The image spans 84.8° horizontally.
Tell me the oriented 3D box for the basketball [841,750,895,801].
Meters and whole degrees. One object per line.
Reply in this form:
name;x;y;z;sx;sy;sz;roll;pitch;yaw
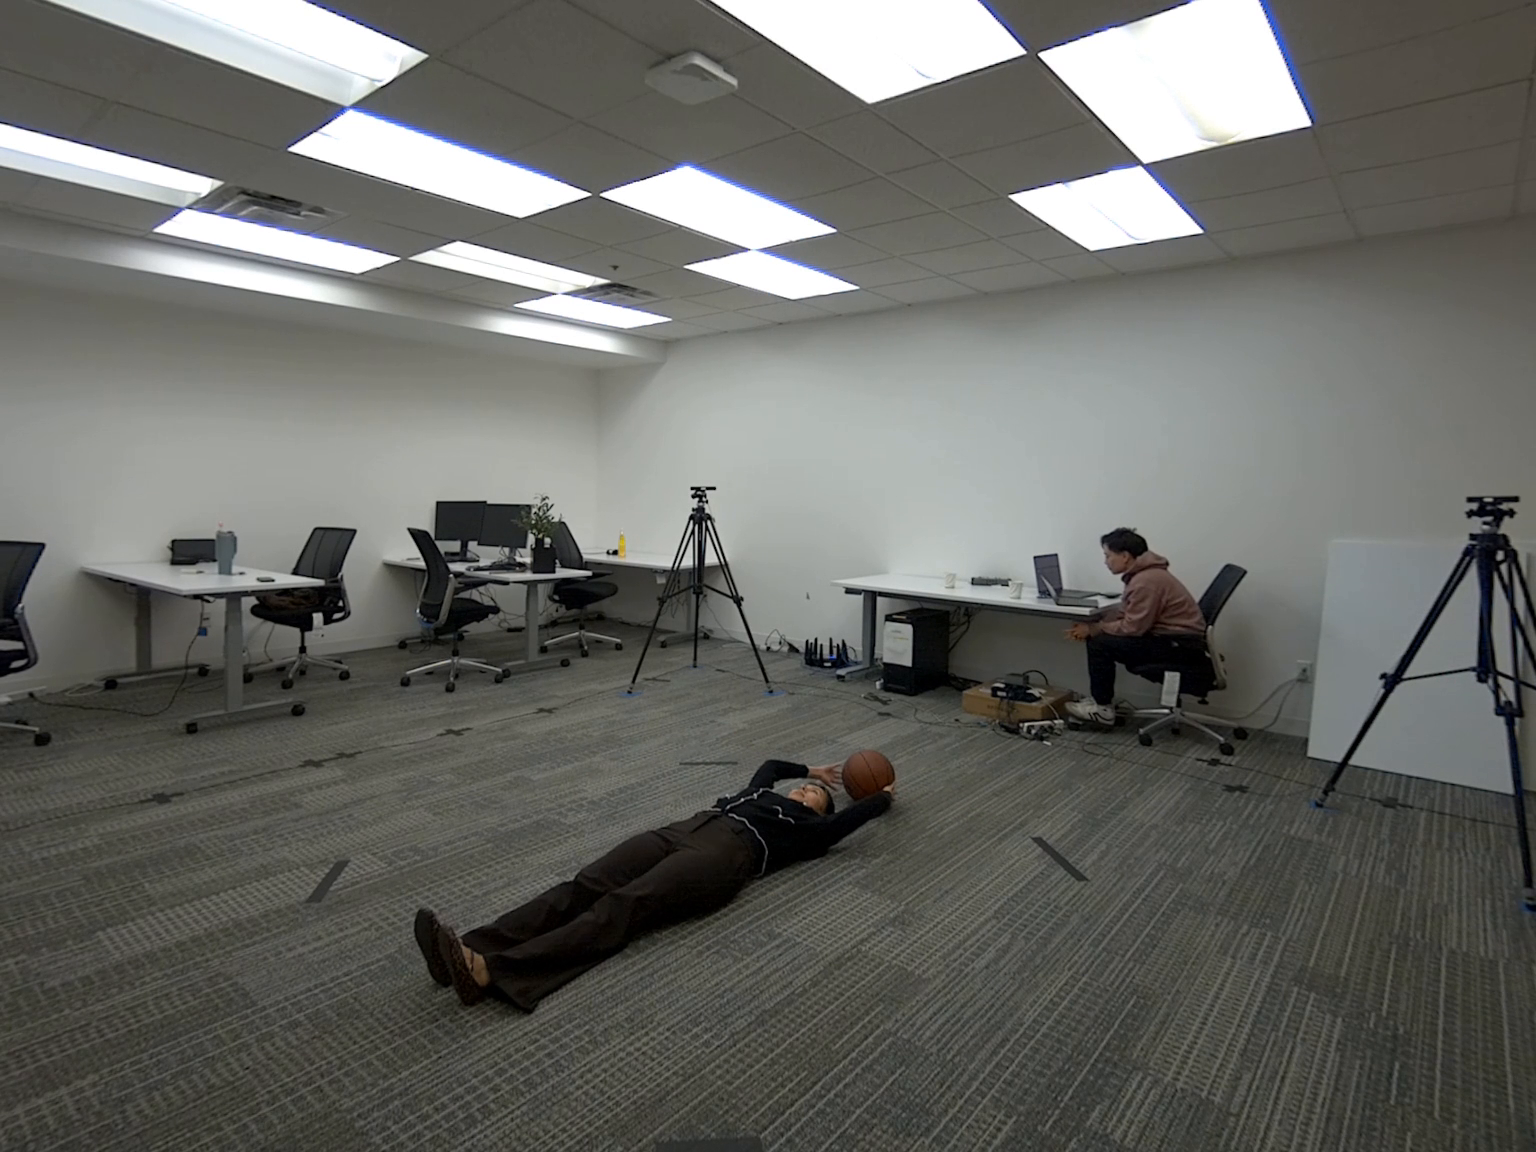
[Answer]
basketball;0.437;0.890;3.786;0.236;0.235;0.237;1;4;-2
